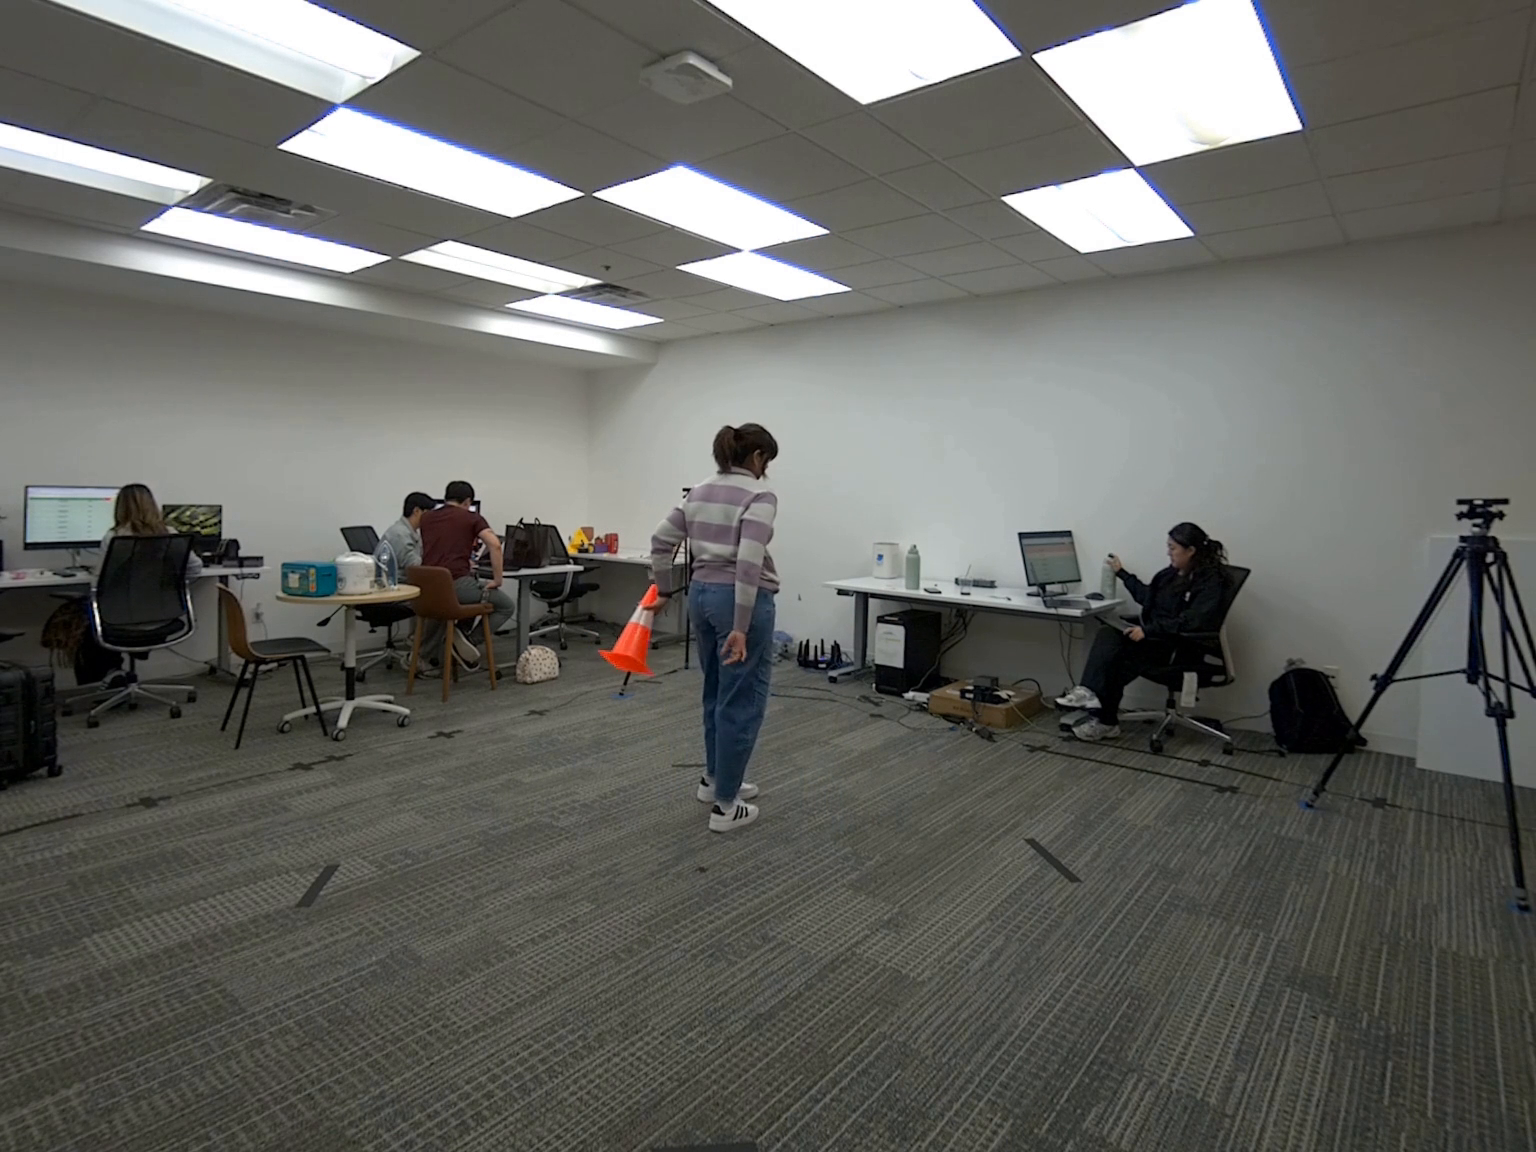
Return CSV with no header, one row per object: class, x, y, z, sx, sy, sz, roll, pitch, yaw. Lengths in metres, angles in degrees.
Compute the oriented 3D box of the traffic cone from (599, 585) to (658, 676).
traffic cone,-0.568,0.201,3.731,0.209,0.389,0.196,0,-29,28
